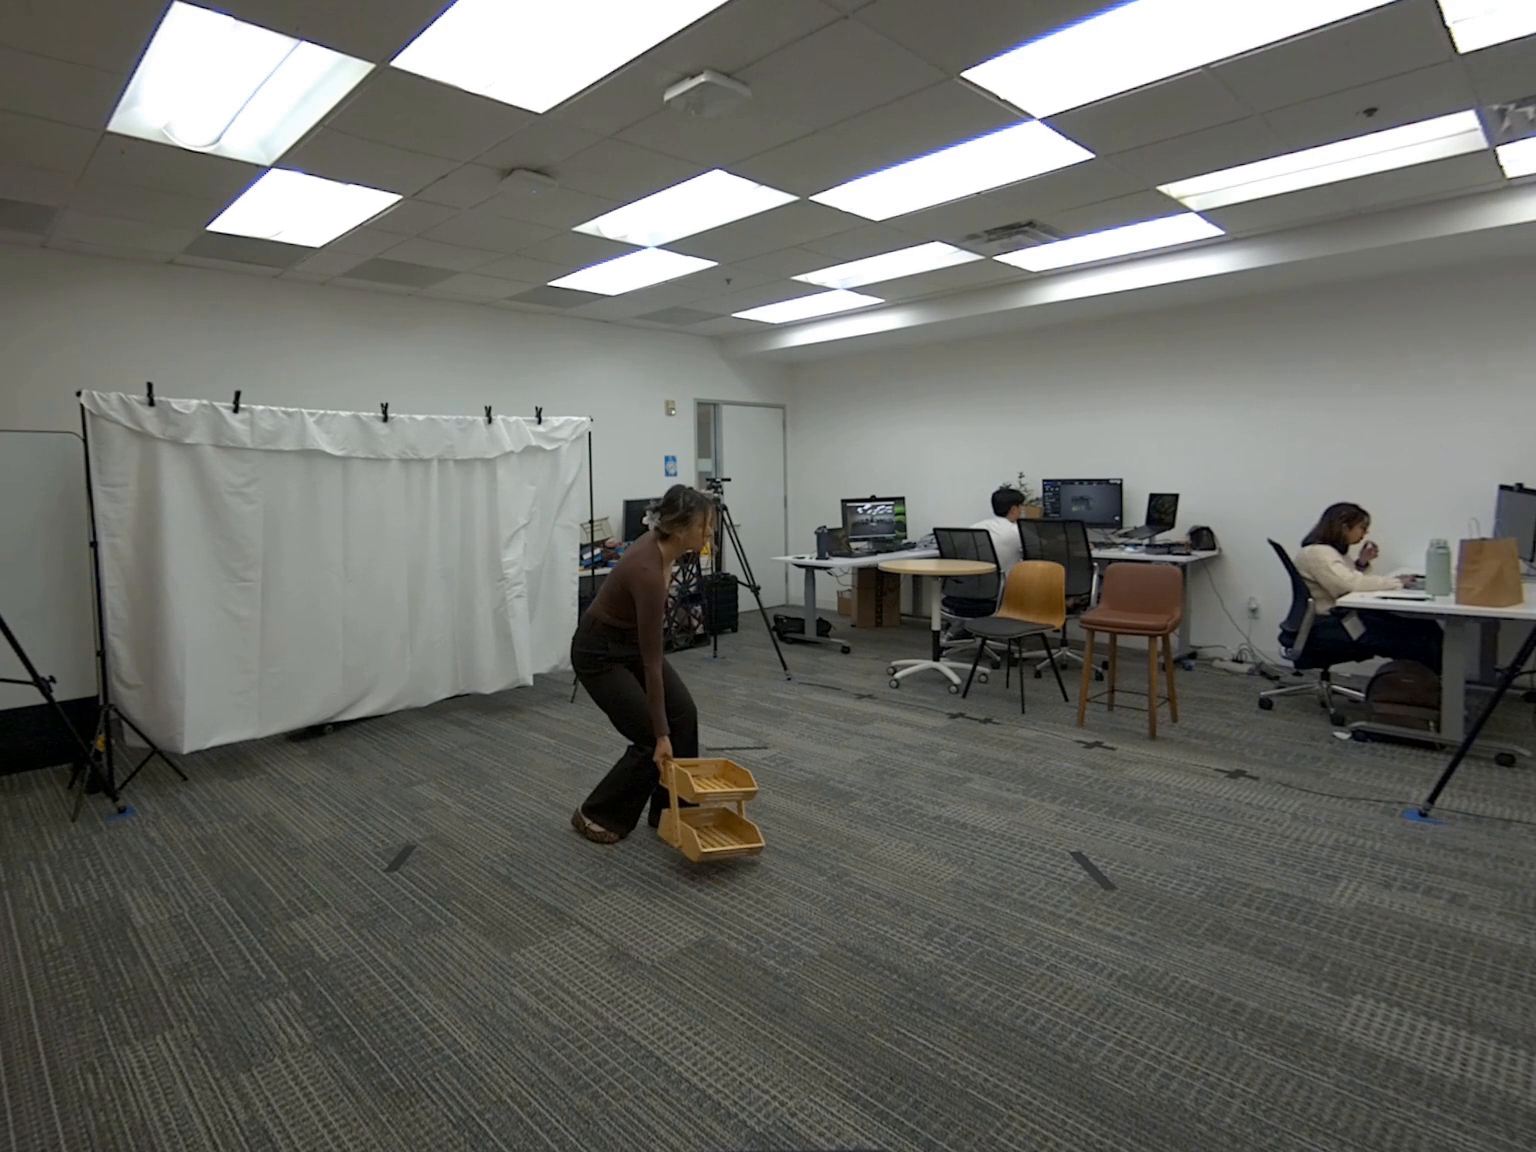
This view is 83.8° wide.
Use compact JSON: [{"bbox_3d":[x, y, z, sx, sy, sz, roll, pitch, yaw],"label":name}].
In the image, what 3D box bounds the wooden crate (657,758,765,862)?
[{"bbox_3d":[-0.199,0.826,3.091,0.314,0.273,0.312,11,1,-42],"label":"wooden crate"}]
